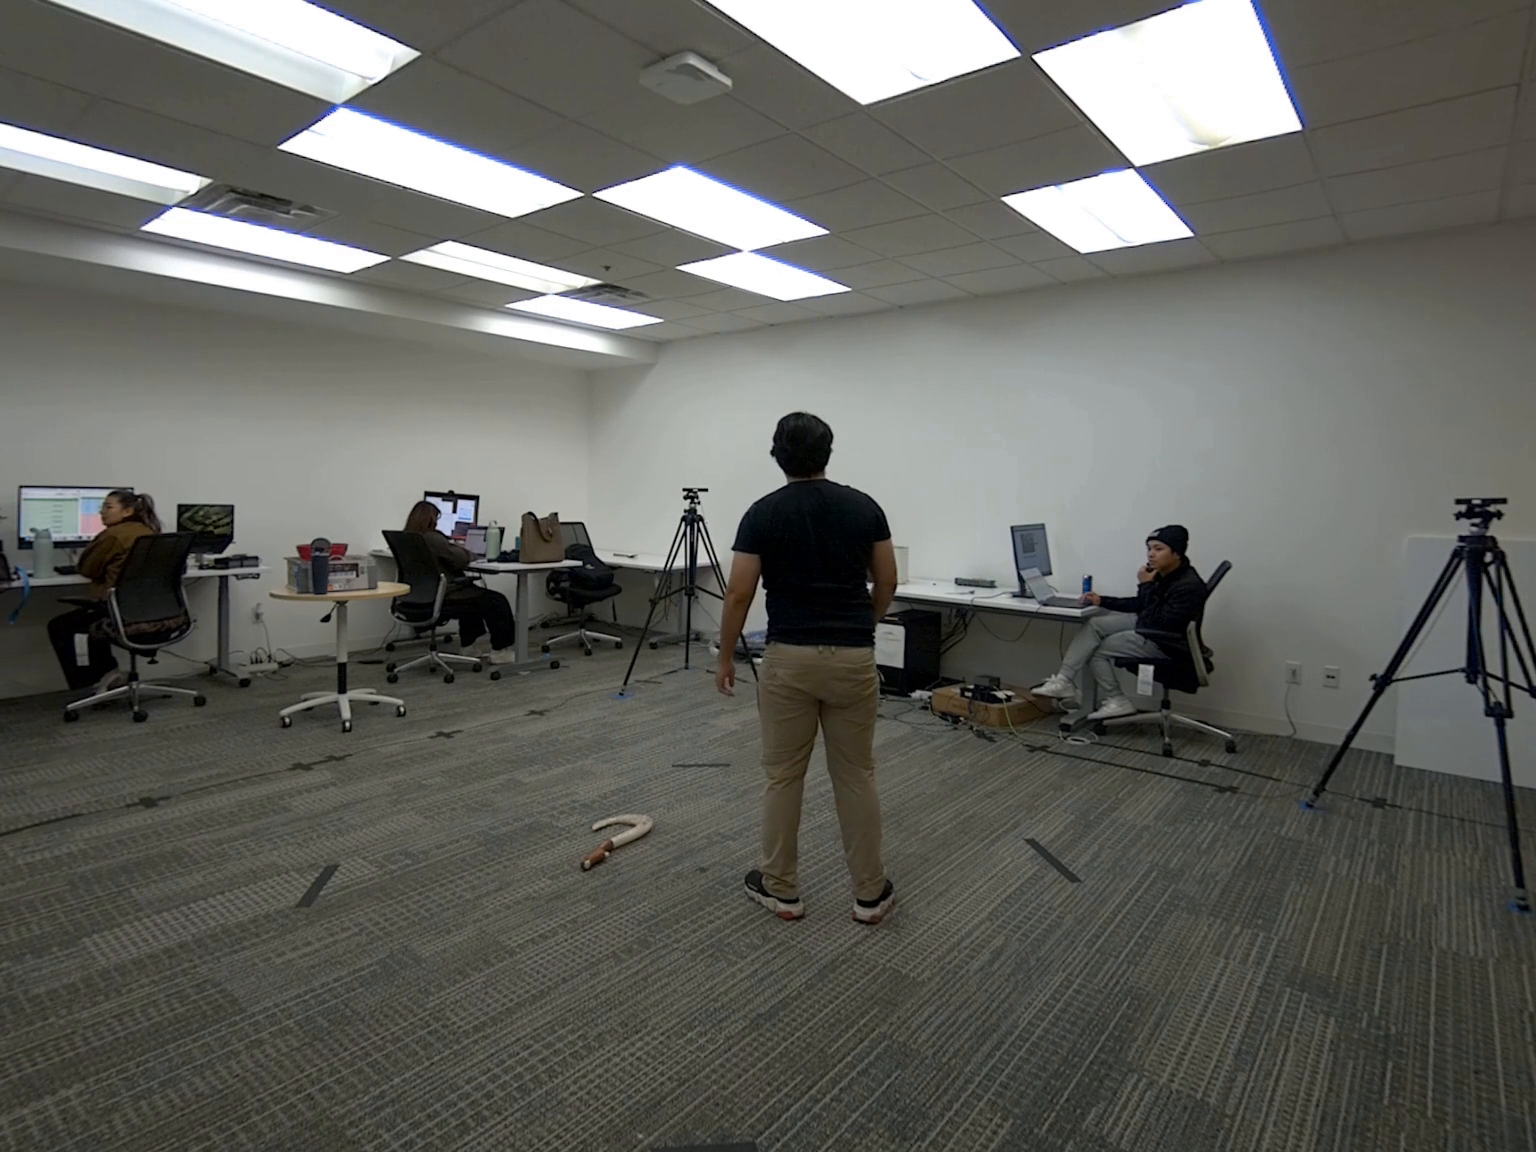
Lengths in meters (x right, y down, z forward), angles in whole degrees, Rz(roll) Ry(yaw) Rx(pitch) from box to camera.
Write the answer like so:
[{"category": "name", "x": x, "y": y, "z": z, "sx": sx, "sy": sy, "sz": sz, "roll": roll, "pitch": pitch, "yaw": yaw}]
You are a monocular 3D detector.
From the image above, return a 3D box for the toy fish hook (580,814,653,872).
[{"category": "toy fish hook", "x": -0.641, "y": 1.024, "z": 3.321, "sx": 0.229, "sy": 0.048, "sz": 0.496, "roll": -4, "pitch": 2, "yaw": 21}]
